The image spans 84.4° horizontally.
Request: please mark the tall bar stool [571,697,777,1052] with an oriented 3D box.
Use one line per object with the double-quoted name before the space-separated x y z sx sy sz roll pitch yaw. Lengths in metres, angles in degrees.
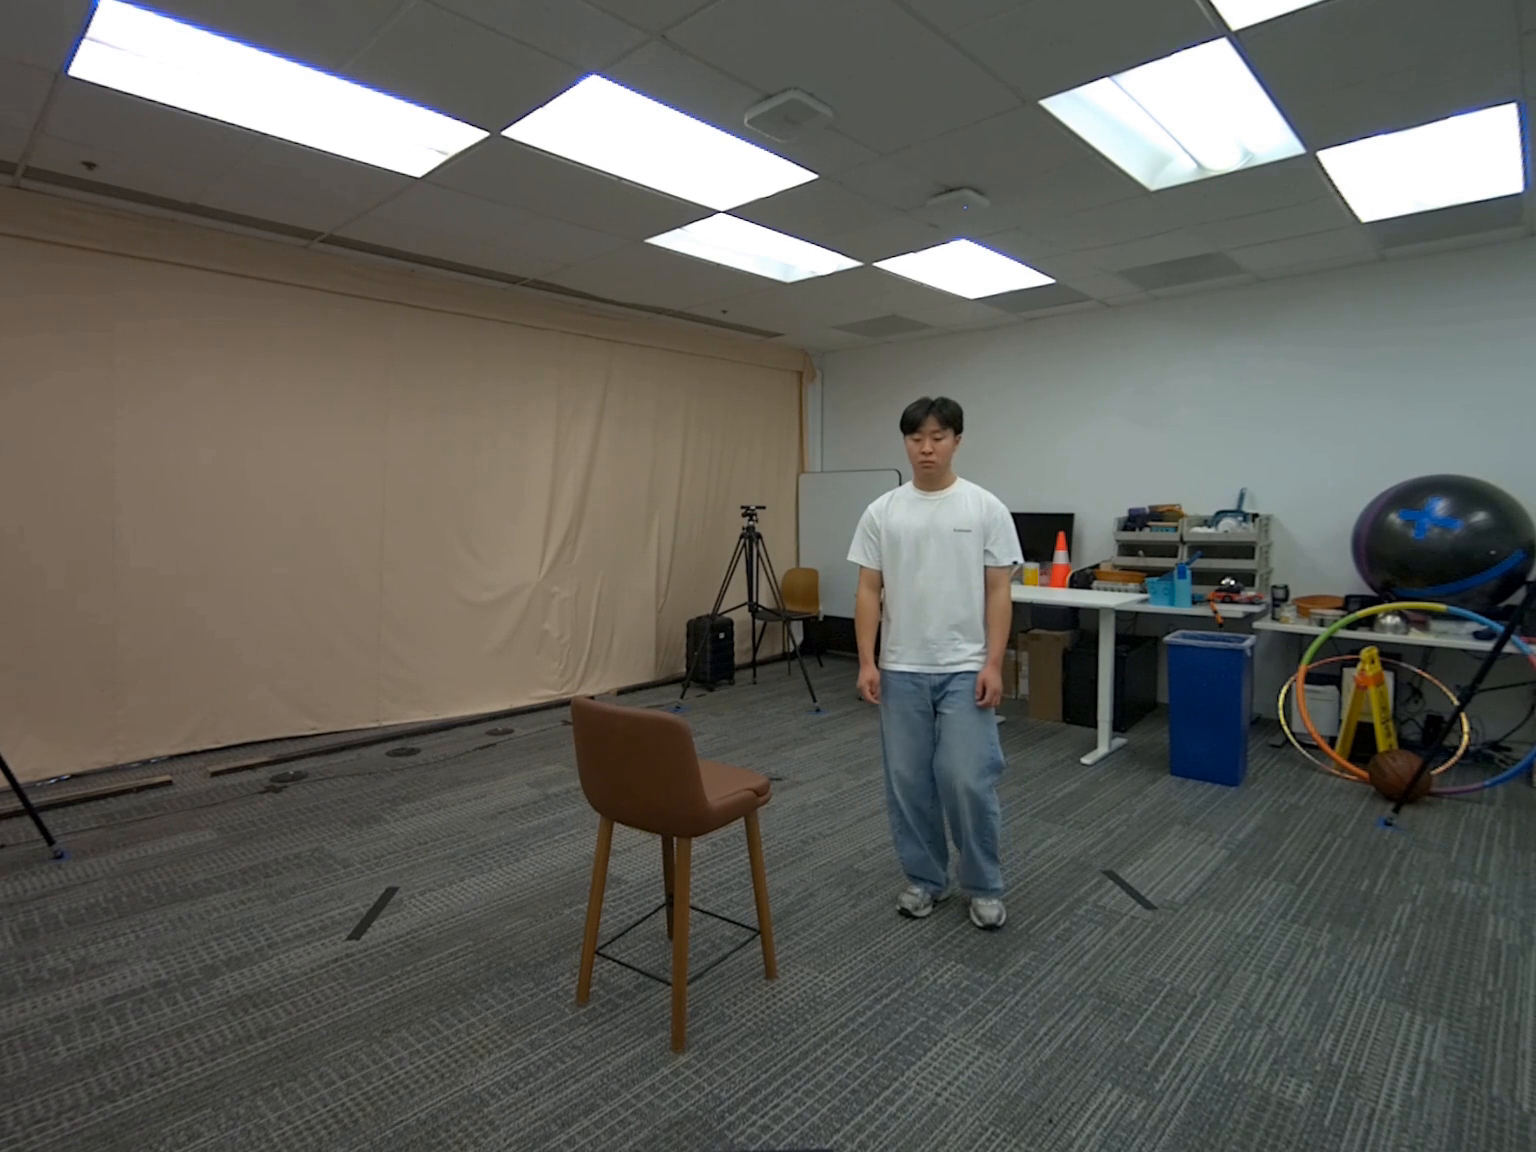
"tall bar stool" -0.266 0.760 2.398 0.471 0.887 0.455 2 6 36
